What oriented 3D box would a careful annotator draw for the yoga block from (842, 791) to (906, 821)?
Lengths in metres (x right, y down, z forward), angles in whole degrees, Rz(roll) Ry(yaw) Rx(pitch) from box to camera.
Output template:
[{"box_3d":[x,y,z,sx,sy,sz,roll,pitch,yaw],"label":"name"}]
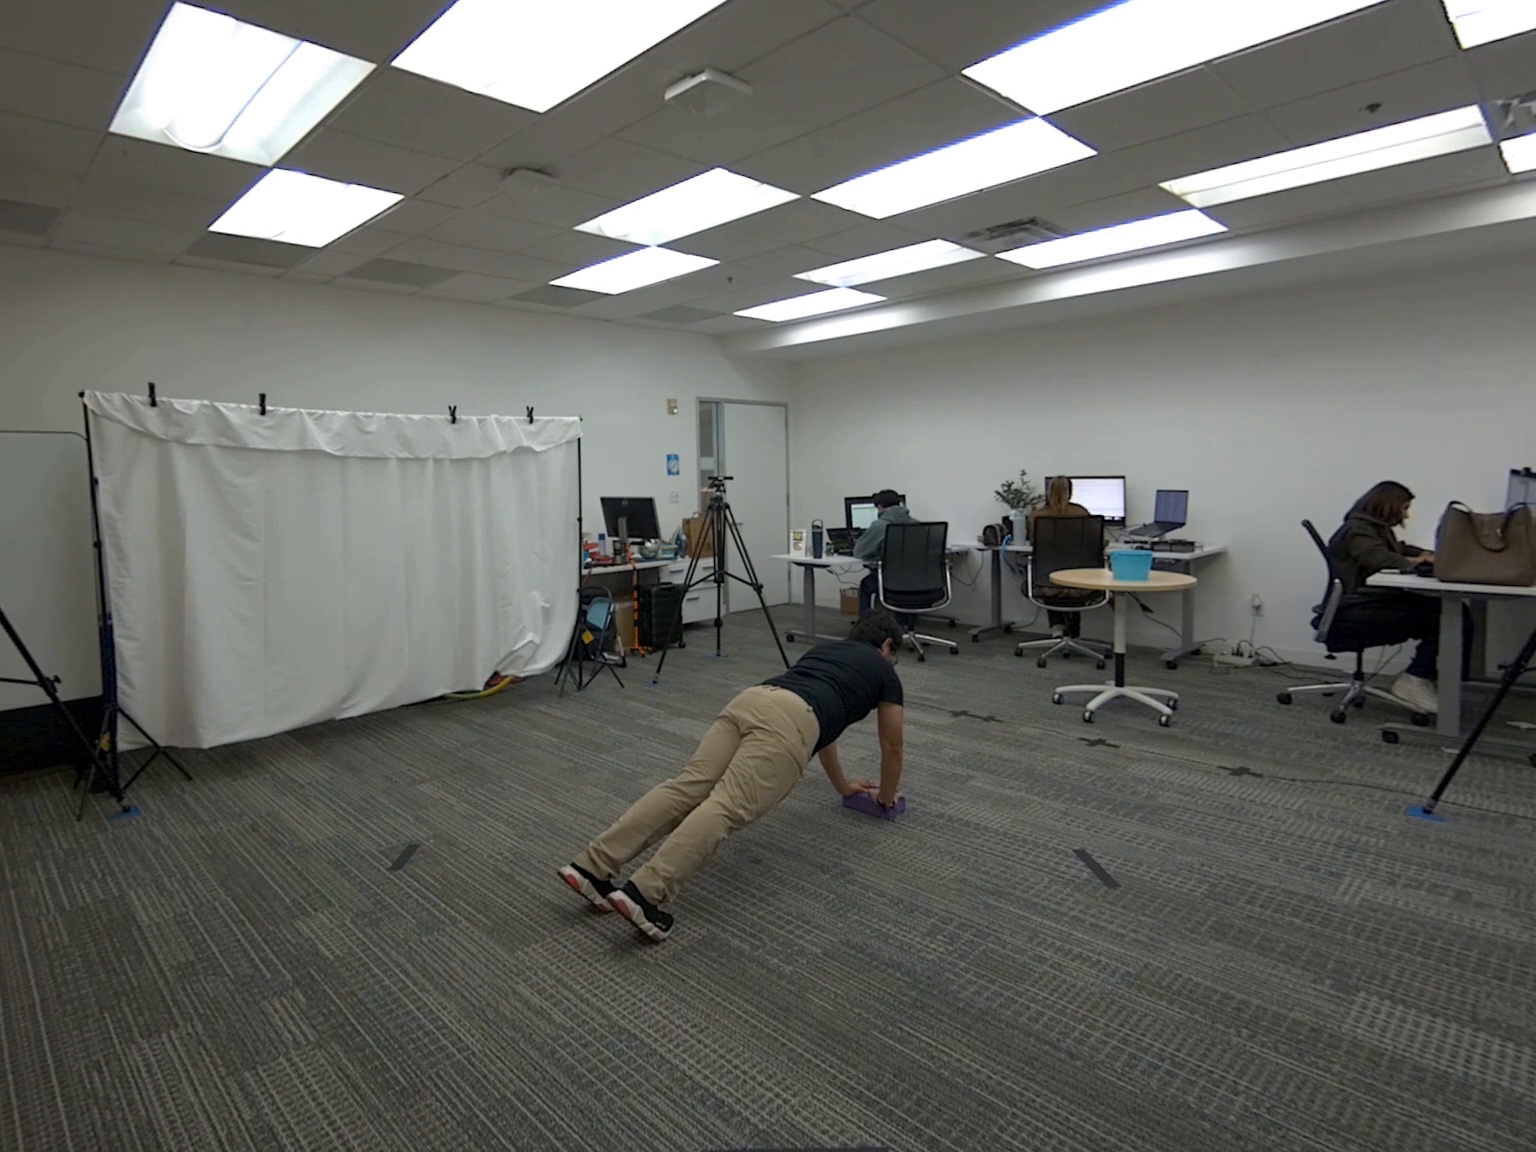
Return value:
[{"box_3d":[0.447,0.937,3.586,0.236,0.076,0.145,5,6,43],"label":"yoga block"}]
